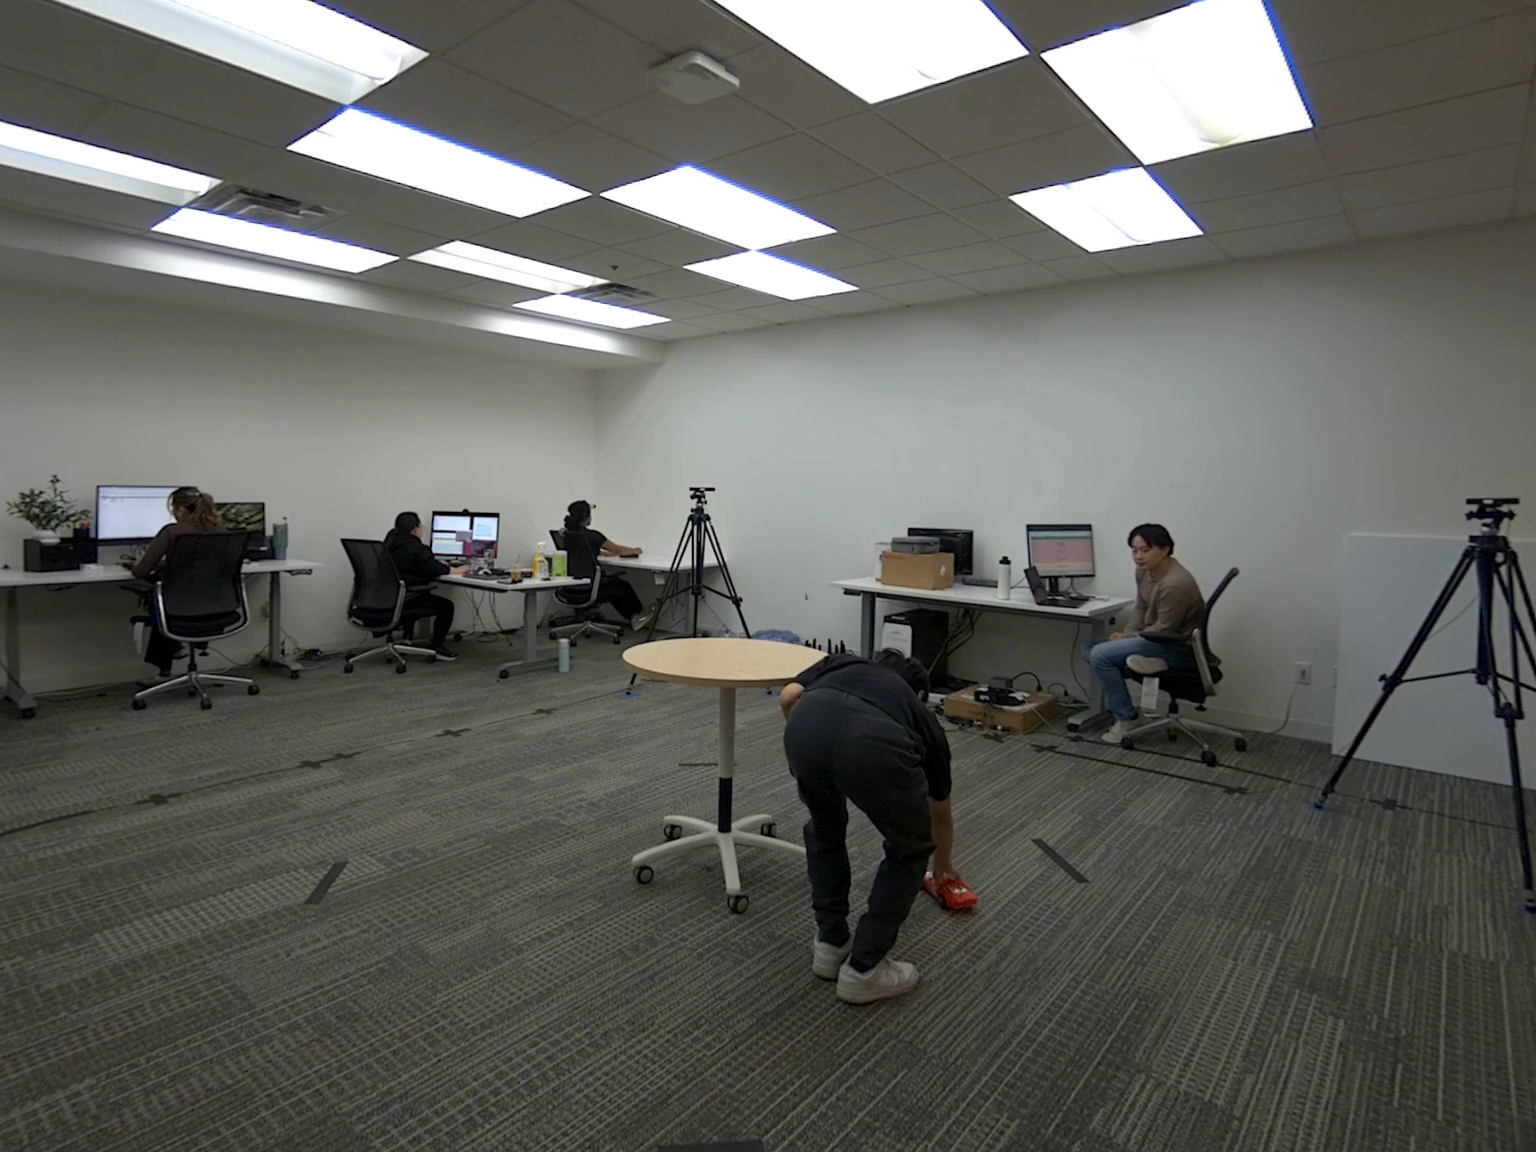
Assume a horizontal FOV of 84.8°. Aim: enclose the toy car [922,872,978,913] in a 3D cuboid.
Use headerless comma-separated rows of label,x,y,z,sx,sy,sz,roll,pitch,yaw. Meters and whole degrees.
toy car,0.605,1.073,2.919,0.128,0.084,0.258,-1,-5,-21
